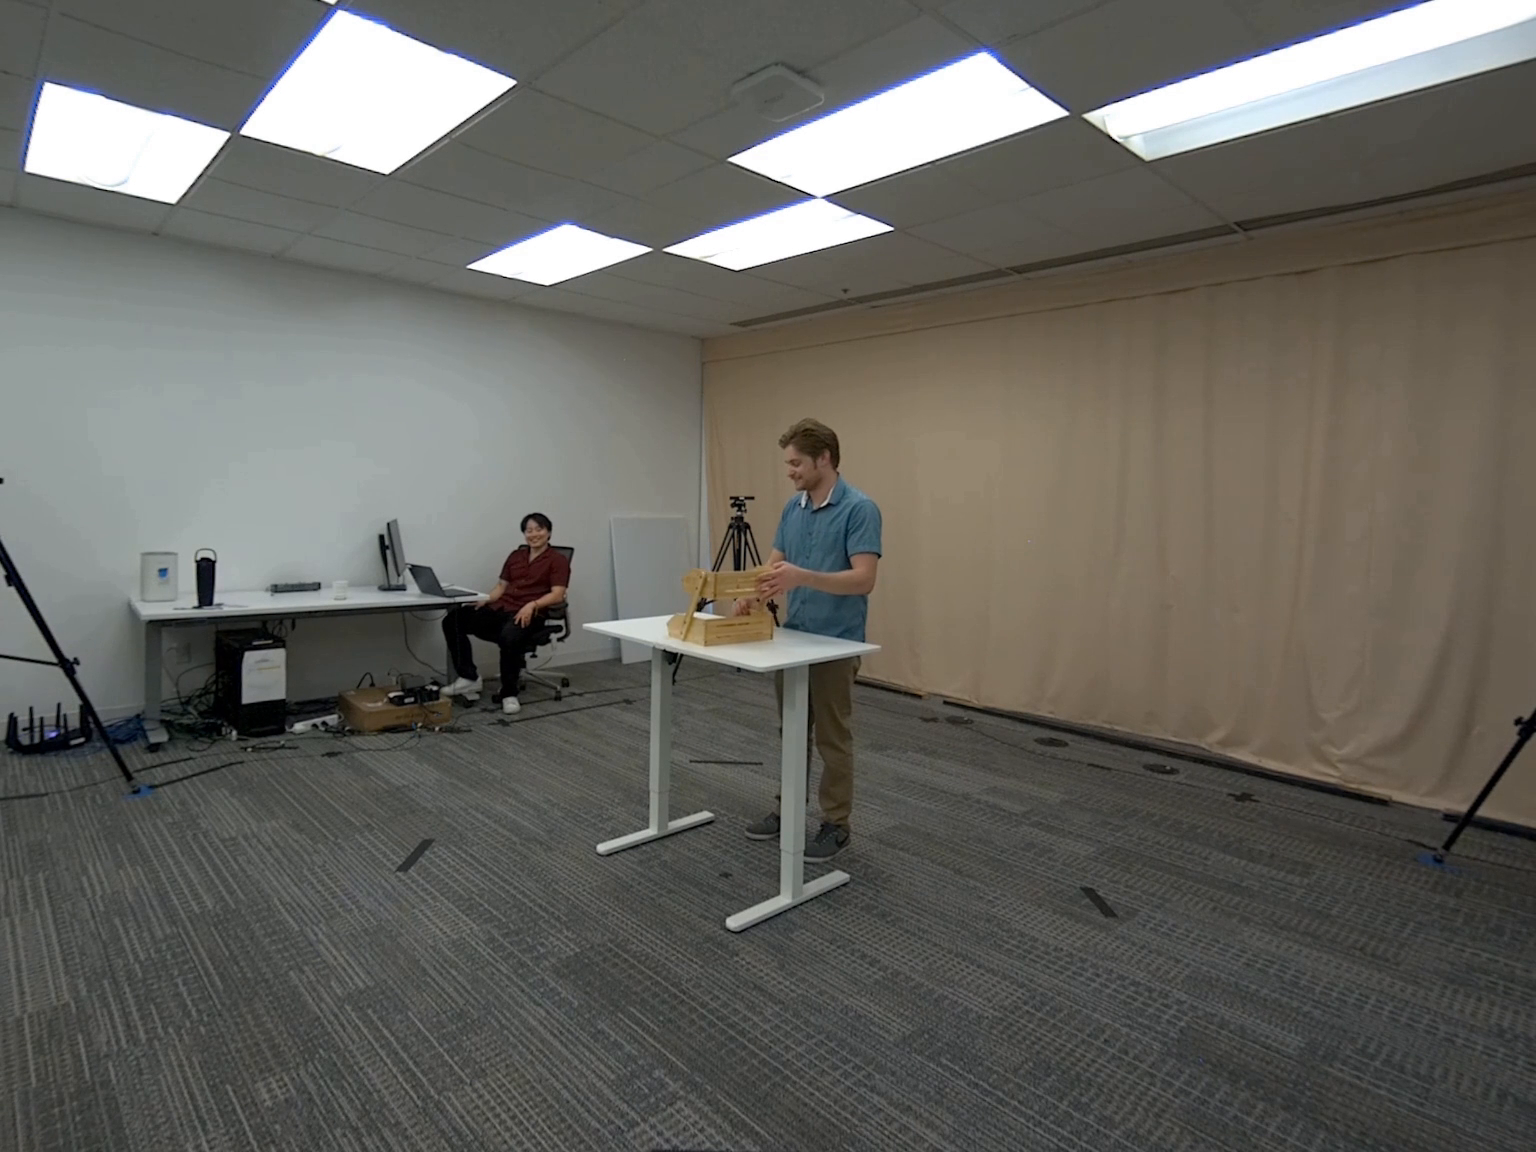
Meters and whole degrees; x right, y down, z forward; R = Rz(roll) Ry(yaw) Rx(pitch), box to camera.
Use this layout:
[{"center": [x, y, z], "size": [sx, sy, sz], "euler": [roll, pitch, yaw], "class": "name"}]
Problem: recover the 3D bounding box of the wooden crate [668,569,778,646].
[{"center": [-0.165, 0.096, 3.036], "size": [0.317, 0.272, 0.310], "euler": [-2, 7, -37], "class": "wooden crate"}]
